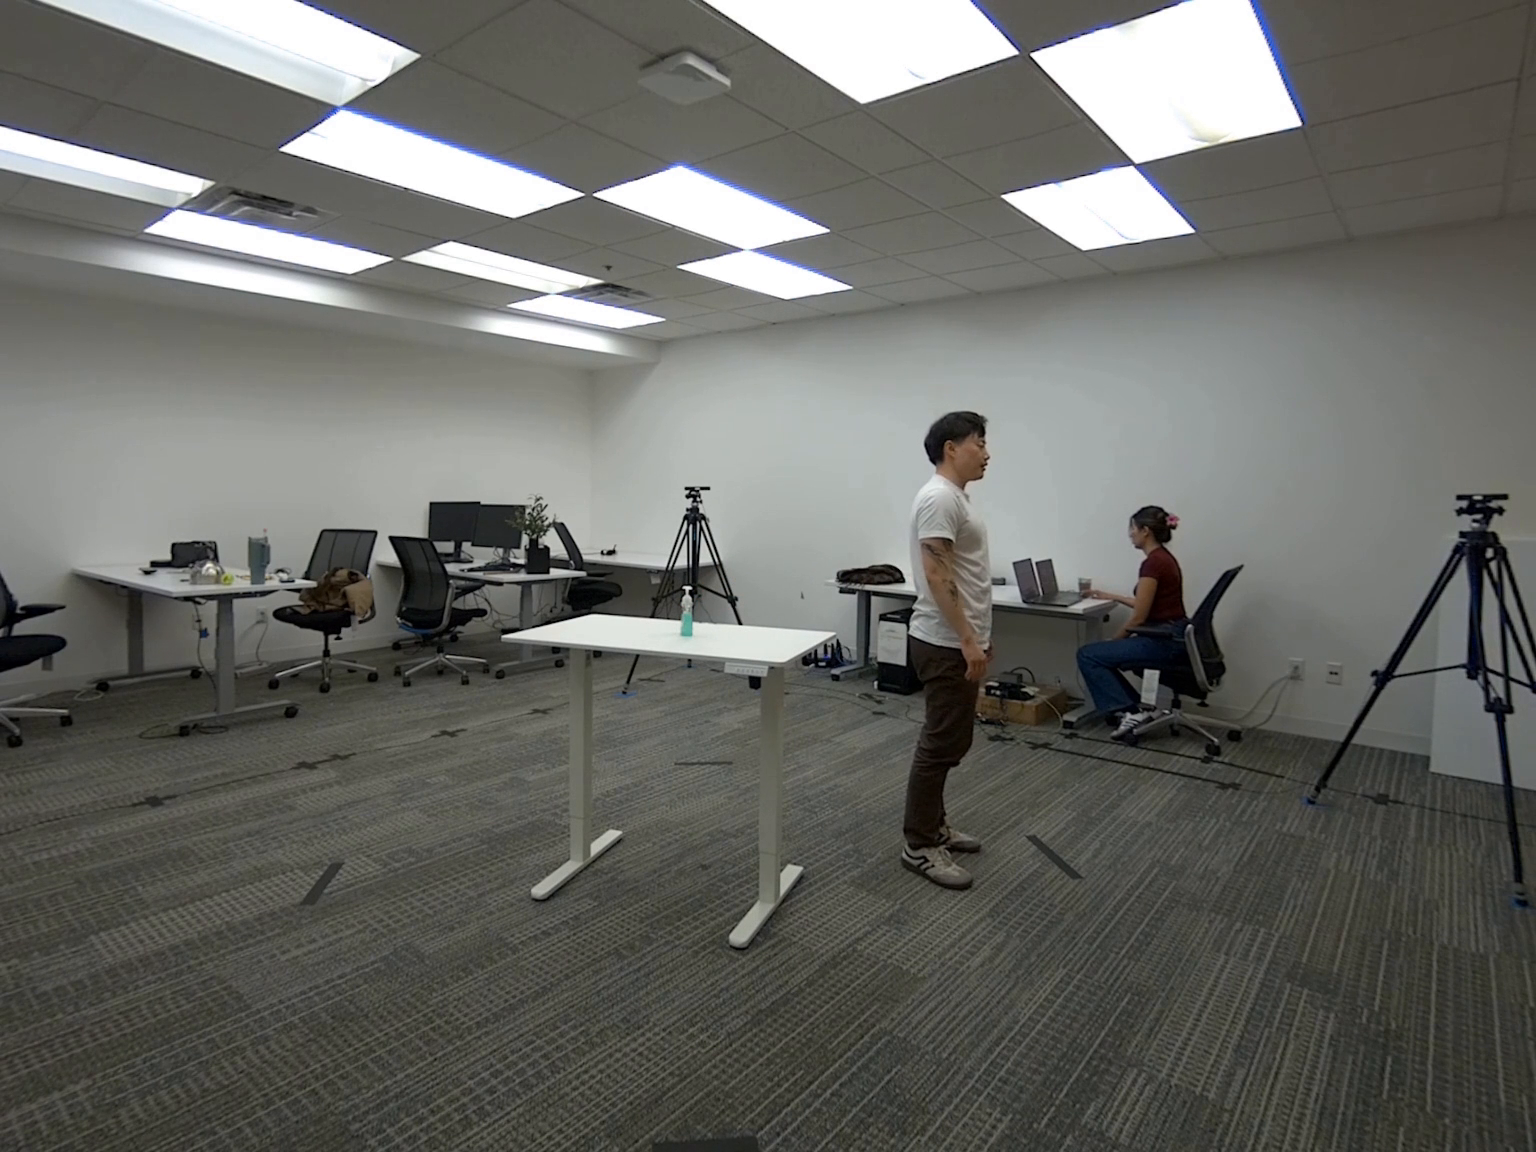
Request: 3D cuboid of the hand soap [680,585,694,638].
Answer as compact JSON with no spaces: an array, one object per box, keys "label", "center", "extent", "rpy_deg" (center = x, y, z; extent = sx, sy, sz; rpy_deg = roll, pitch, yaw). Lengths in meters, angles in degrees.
[{"label":"hand soap","center":[-0.289,0.120,2.921],"extent":[0.043,0.167,0.086],"rpy_deg":[2,5,-11]}]
